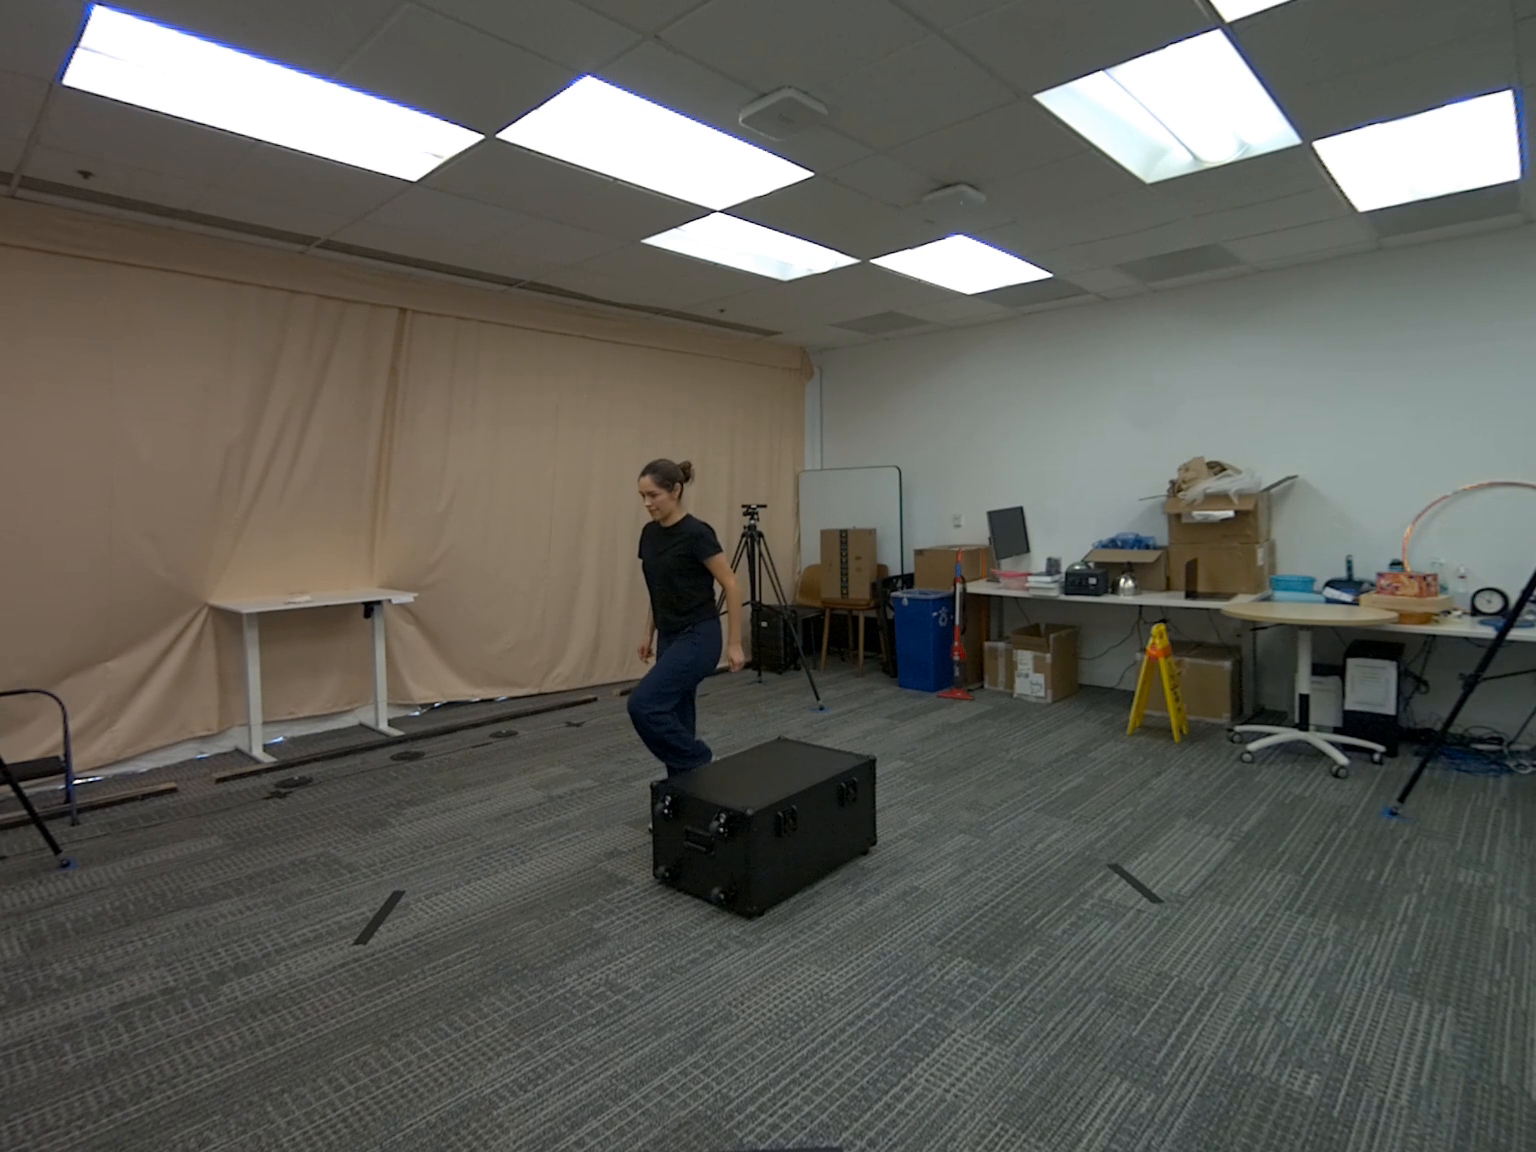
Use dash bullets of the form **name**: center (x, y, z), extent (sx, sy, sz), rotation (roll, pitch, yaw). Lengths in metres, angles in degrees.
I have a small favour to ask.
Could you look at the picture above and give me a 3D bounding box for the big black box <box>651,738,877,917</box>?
- **big black box**: center (-0.004, 0.931, 3.210), extent (0.538, 0.395, 0.836), rotation (2, 5, 40)
